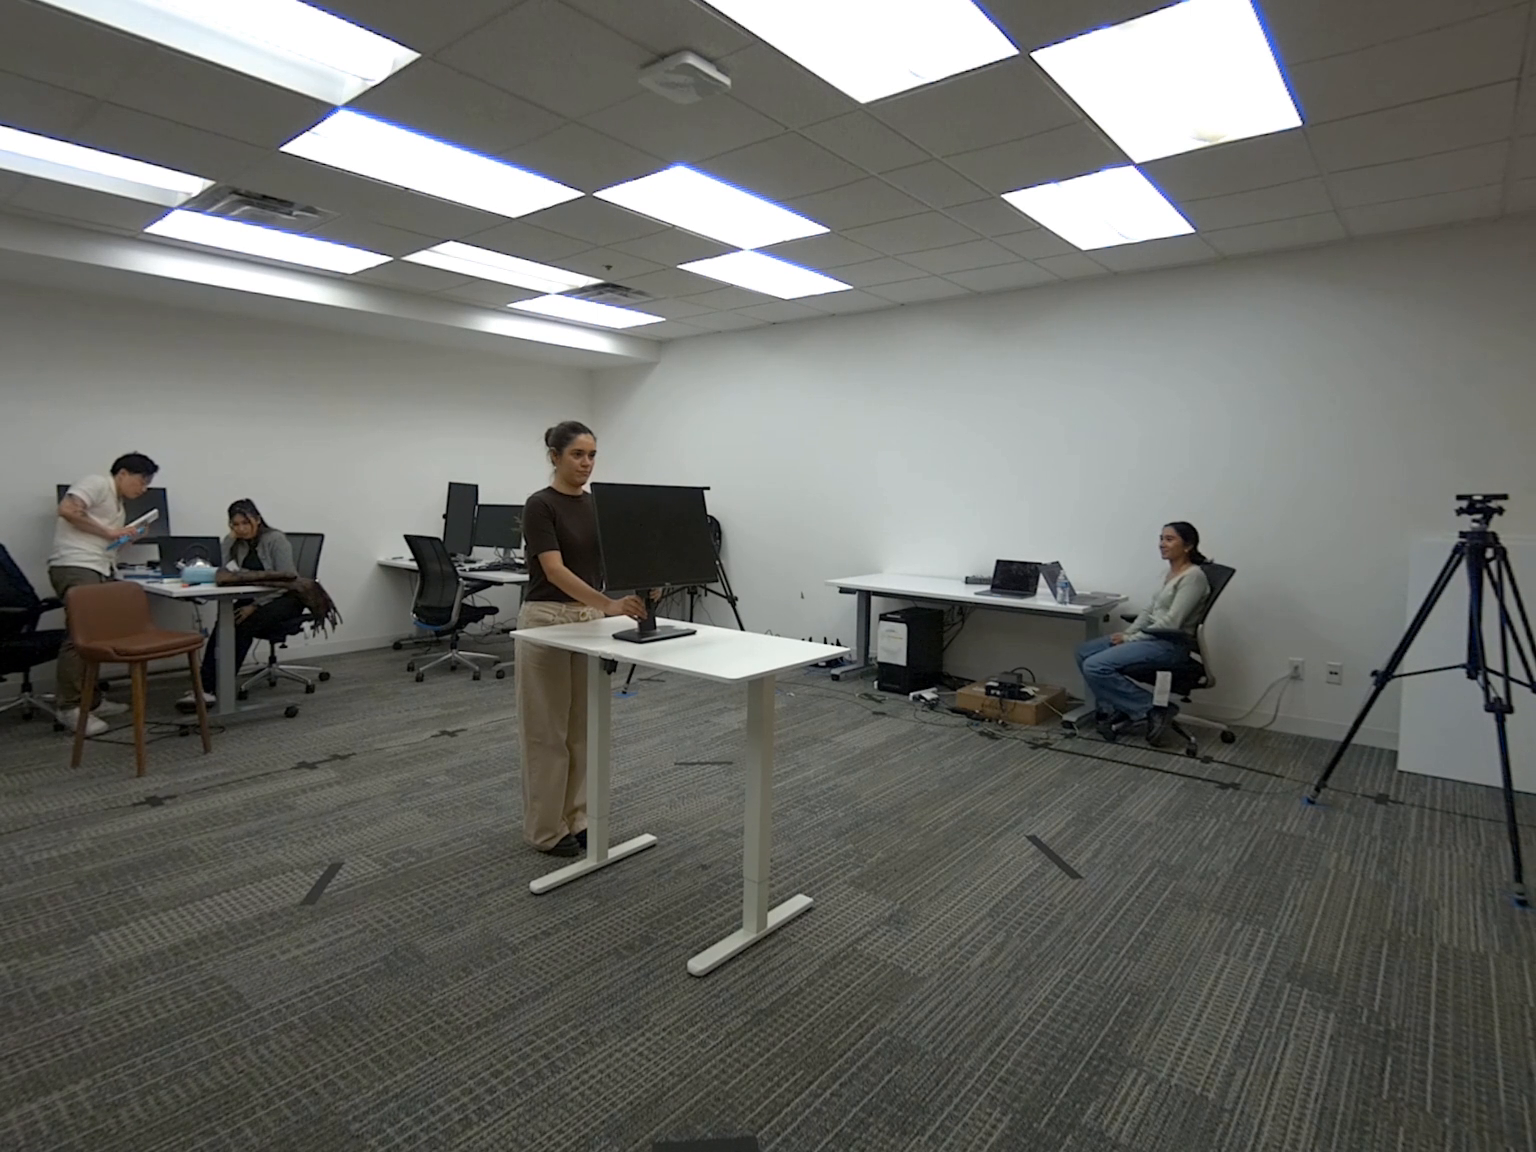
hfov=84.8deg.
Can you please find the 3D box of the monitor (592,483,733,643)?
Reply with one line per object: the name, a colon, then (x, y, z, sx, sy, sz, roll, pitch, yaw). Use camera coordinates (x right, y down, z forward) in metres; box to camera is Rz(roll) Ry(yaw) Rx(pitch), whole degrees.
monitor: (-0.401, -0.054, 2.884, 0.180, 0.514, 0.514, 7, 6, 37)
